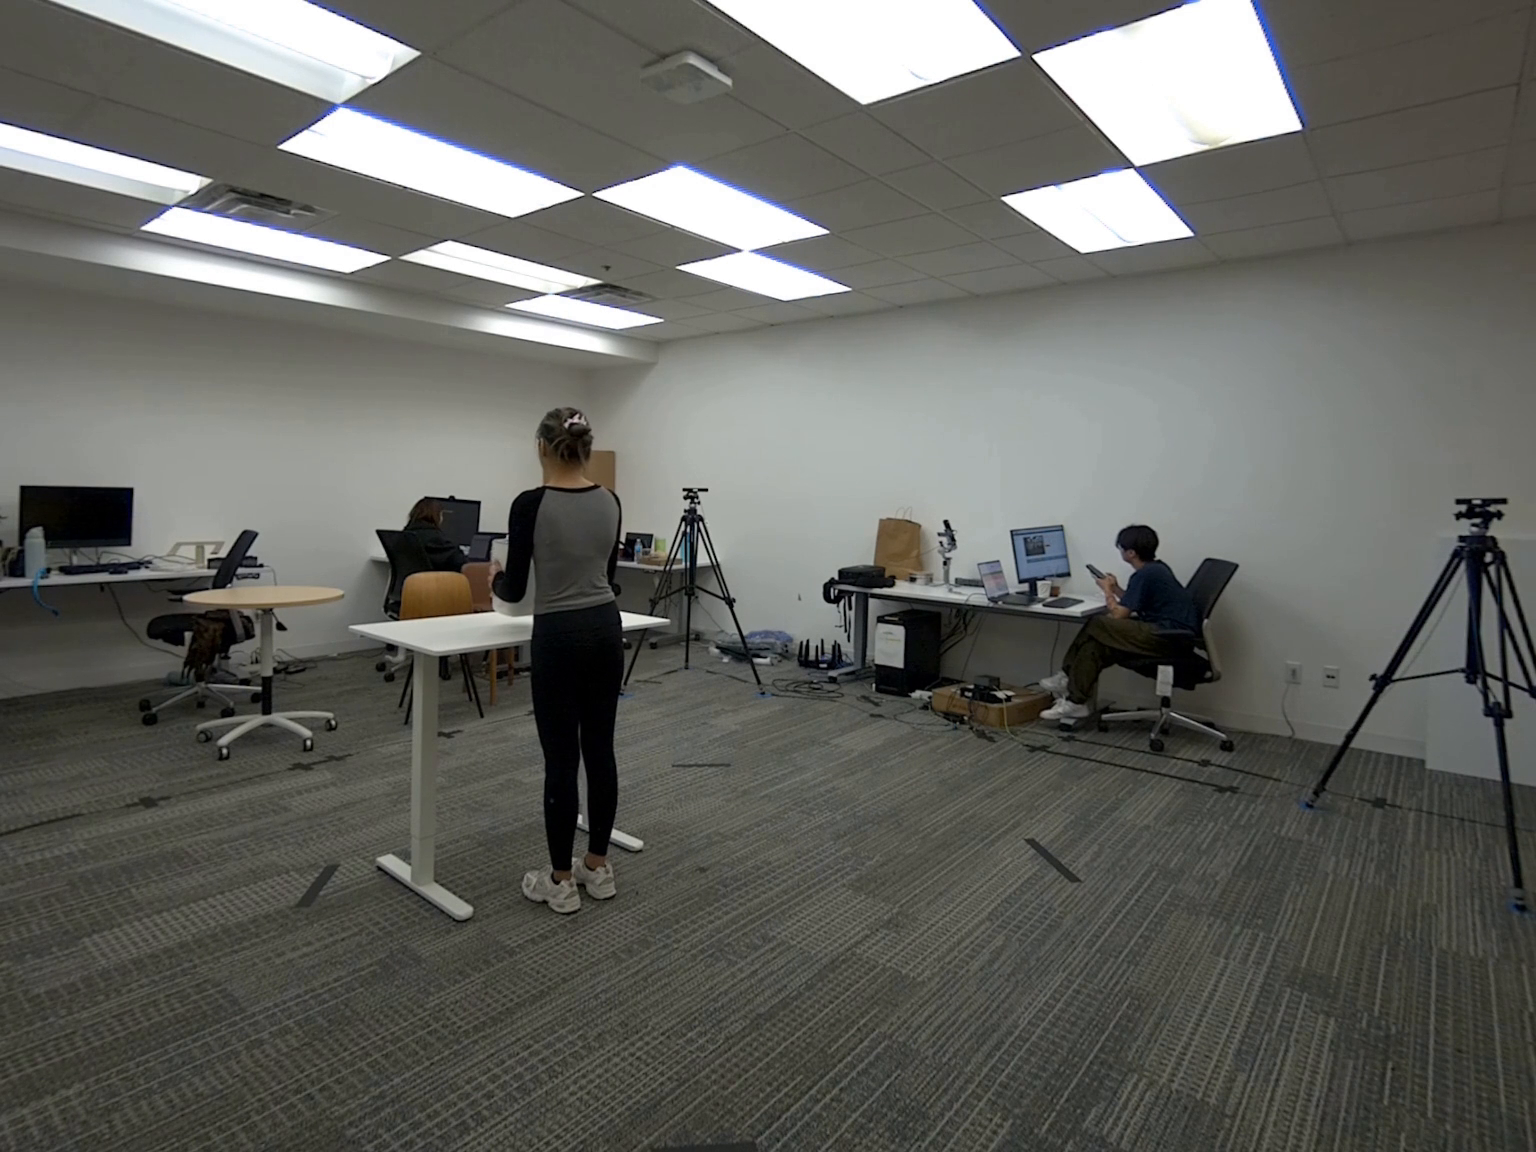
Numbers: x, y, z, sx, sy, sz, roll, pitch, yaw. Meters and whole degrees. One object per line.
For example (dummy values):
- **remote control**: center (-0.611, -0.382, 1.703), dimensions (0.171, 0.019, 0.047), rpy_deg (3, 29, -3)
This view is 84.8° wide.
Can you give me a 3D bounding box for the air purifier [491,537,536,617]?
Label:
- **air purifier**: center (-0.909, 0.005, 3.072), dimensions (0.166, 0.264, 0.177), rpy_deg (-2, 8, -44)
